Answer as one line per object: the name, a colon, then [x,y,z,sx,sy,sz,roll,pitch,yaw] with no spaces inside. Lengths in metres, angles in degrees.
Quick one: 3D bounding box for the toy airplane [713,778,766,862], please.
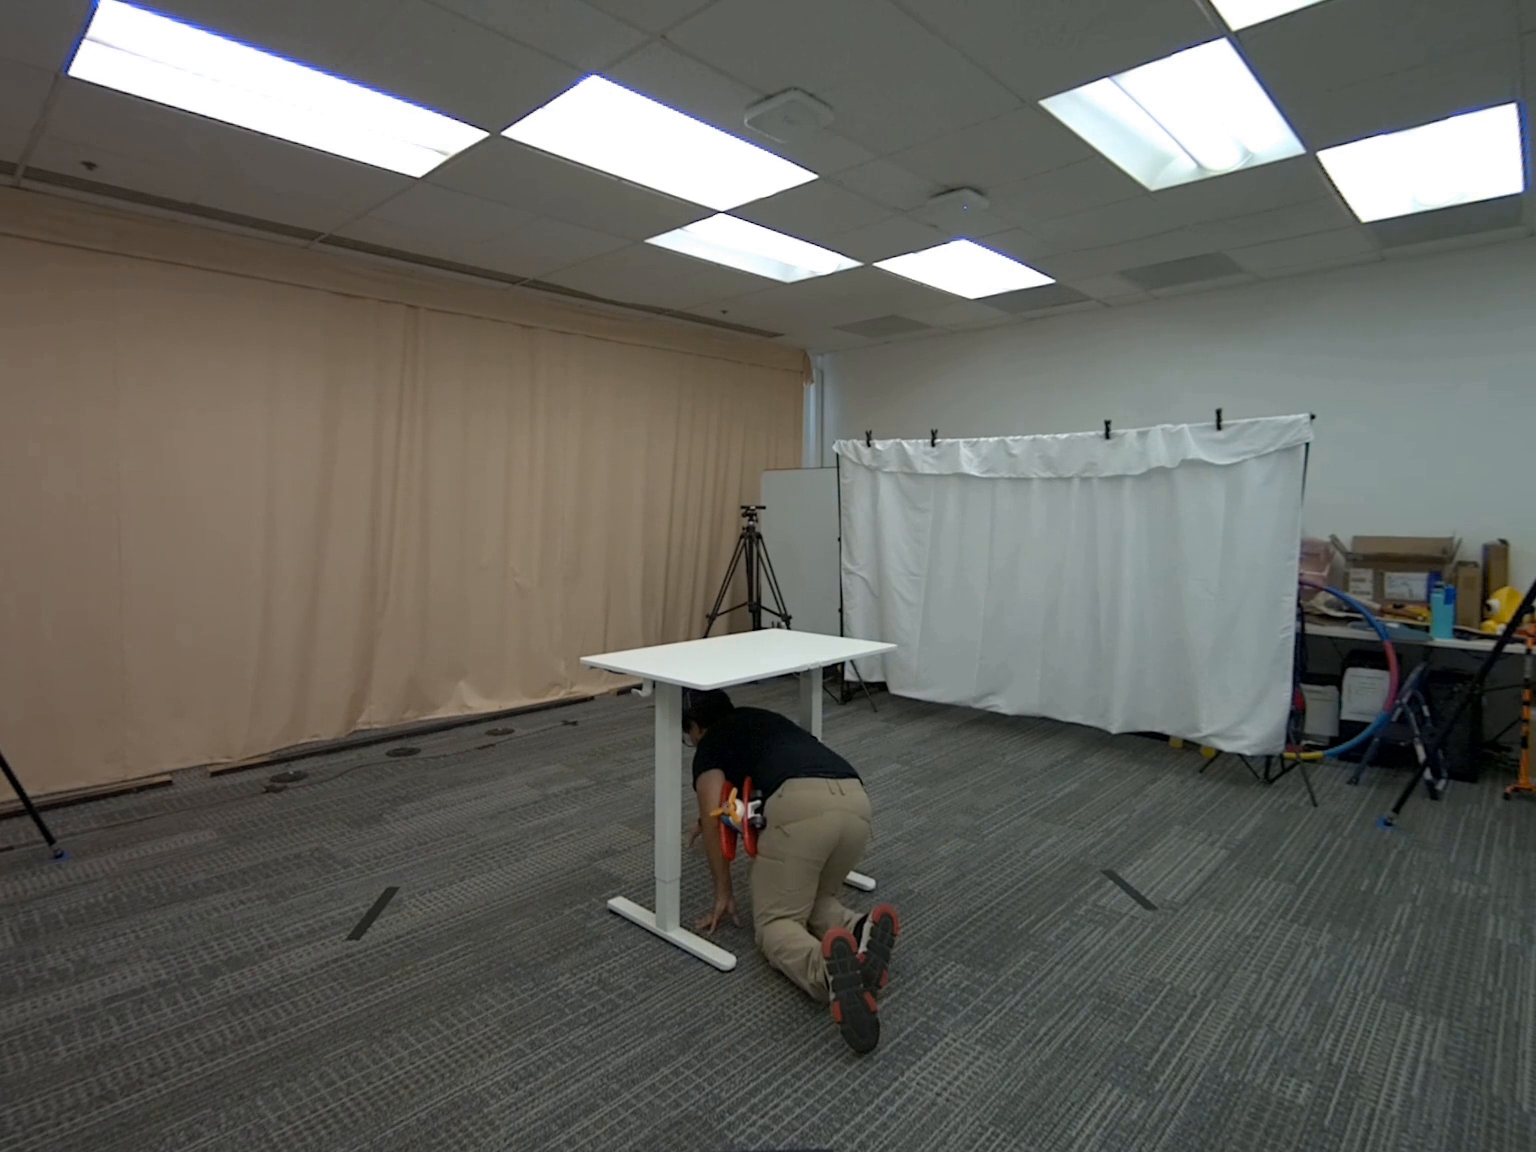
toy airplane: [-0.061,0.808,2.737,0.159,0.255,0.251,-9,21,15]
